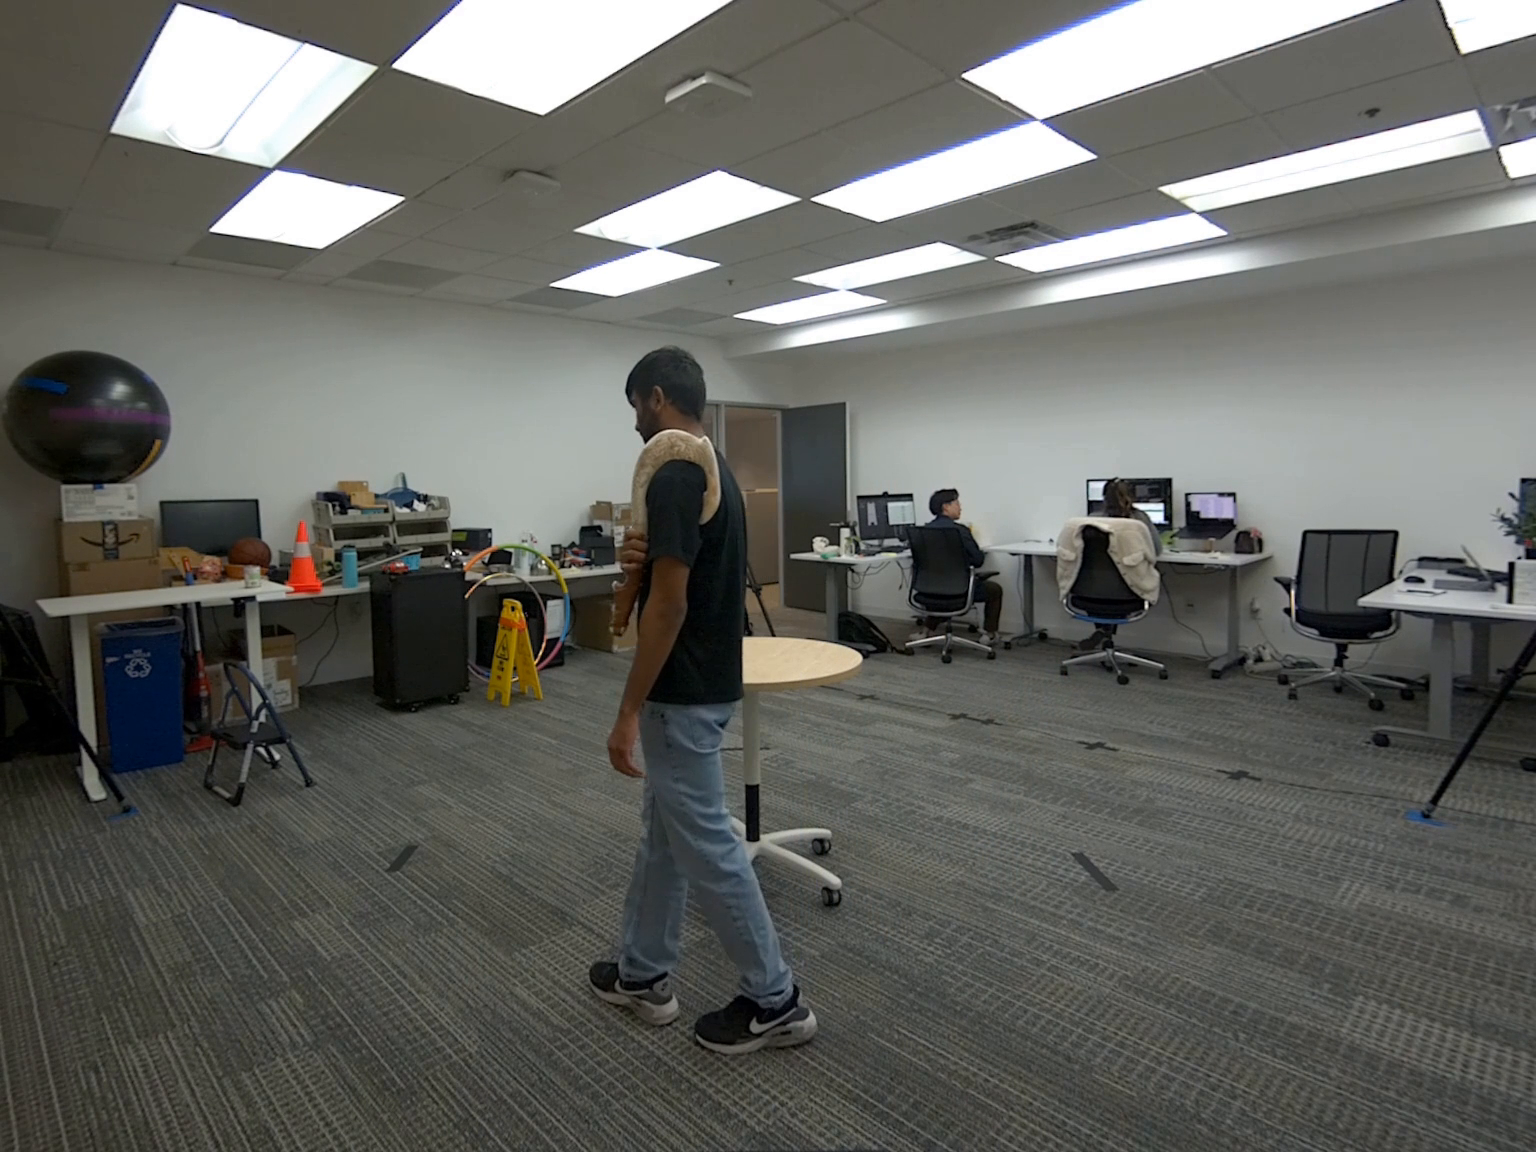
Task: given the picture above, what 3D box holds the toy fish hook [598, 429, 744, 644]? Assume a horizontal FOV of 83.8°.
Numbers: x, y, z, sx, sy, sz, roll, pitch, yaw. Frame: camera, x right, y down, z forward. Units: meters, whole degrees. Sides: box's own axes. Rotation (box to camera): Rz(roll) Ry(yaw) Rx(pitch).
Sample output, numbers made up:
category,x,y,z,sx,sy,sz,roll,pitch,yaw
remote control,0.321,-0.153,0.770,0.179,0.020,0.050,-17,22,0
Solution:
category,x,y,z,sx,sy,sz,roll,pitch,yaw
toy fish hook,-0.229,-0.088,1.978,0.231,0.505,0.047,17,5,26
